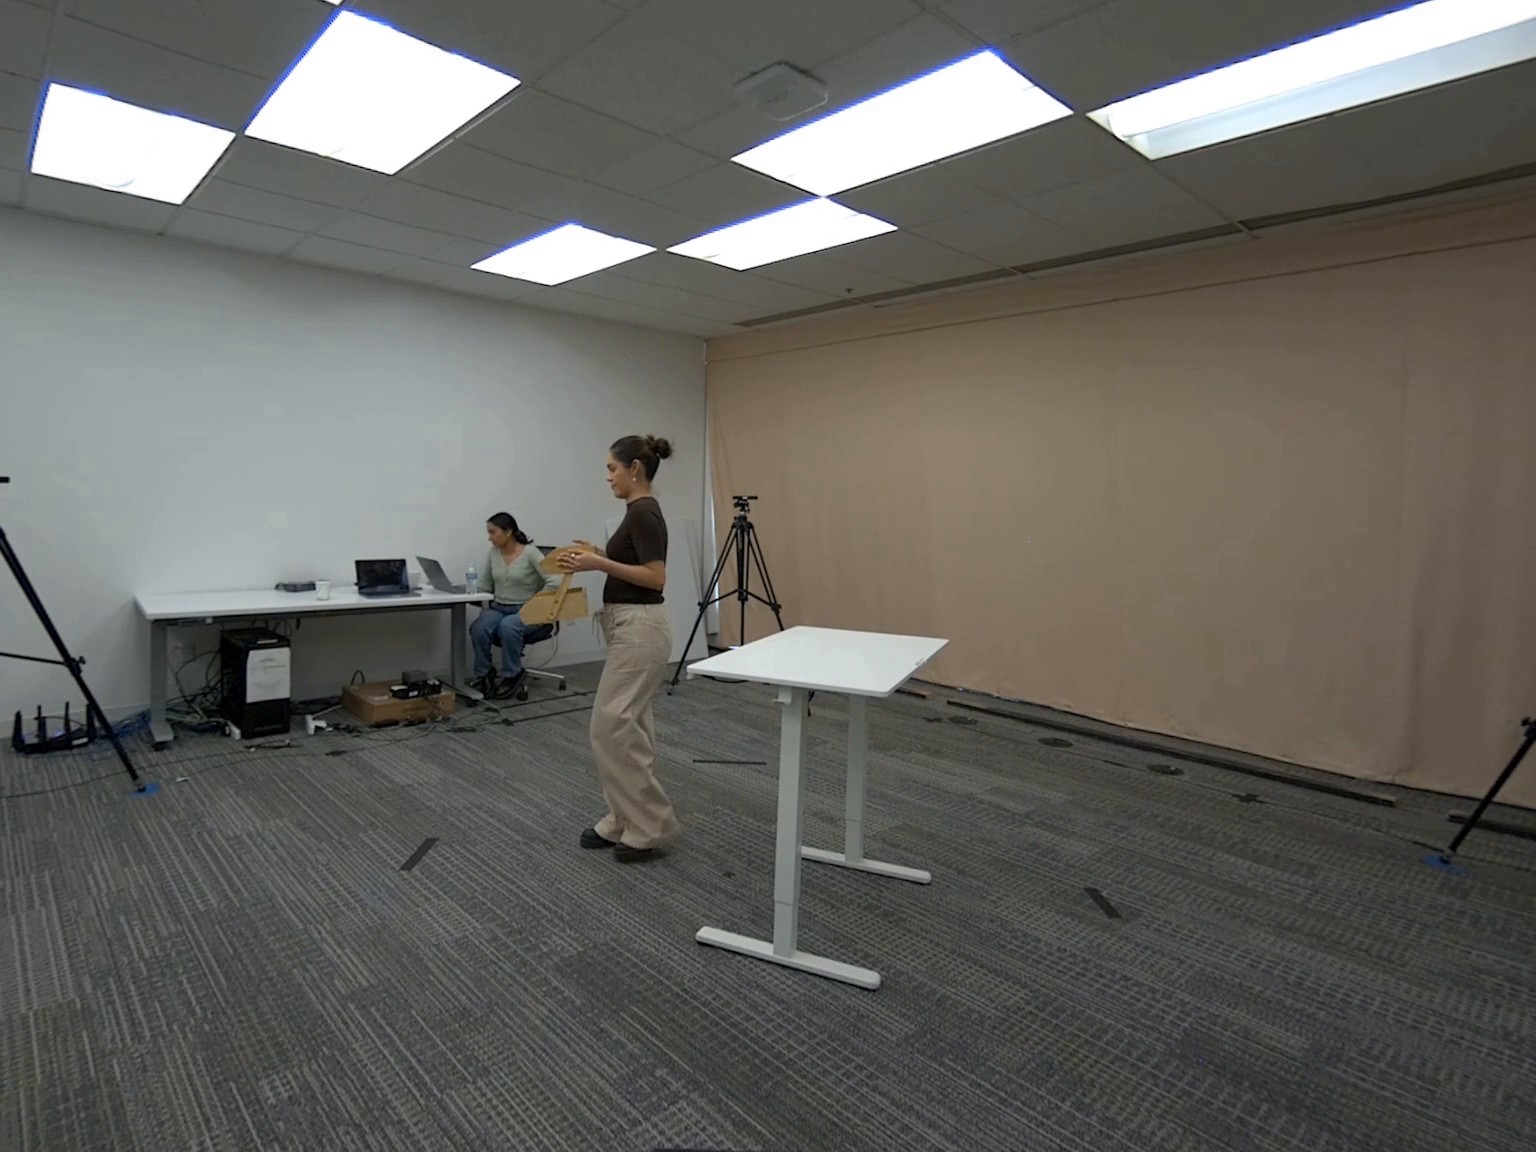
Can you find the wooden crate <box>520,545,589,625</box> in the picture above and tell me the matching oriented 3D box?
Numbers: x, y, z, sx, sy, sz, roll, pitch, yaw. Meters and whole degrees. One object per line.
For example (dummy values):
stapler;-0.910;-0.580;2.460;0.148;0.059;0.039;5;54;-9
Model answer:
wooden crate;-0.805;0.024;3.232;0.300;0.272;0.328;-7;5;-10
